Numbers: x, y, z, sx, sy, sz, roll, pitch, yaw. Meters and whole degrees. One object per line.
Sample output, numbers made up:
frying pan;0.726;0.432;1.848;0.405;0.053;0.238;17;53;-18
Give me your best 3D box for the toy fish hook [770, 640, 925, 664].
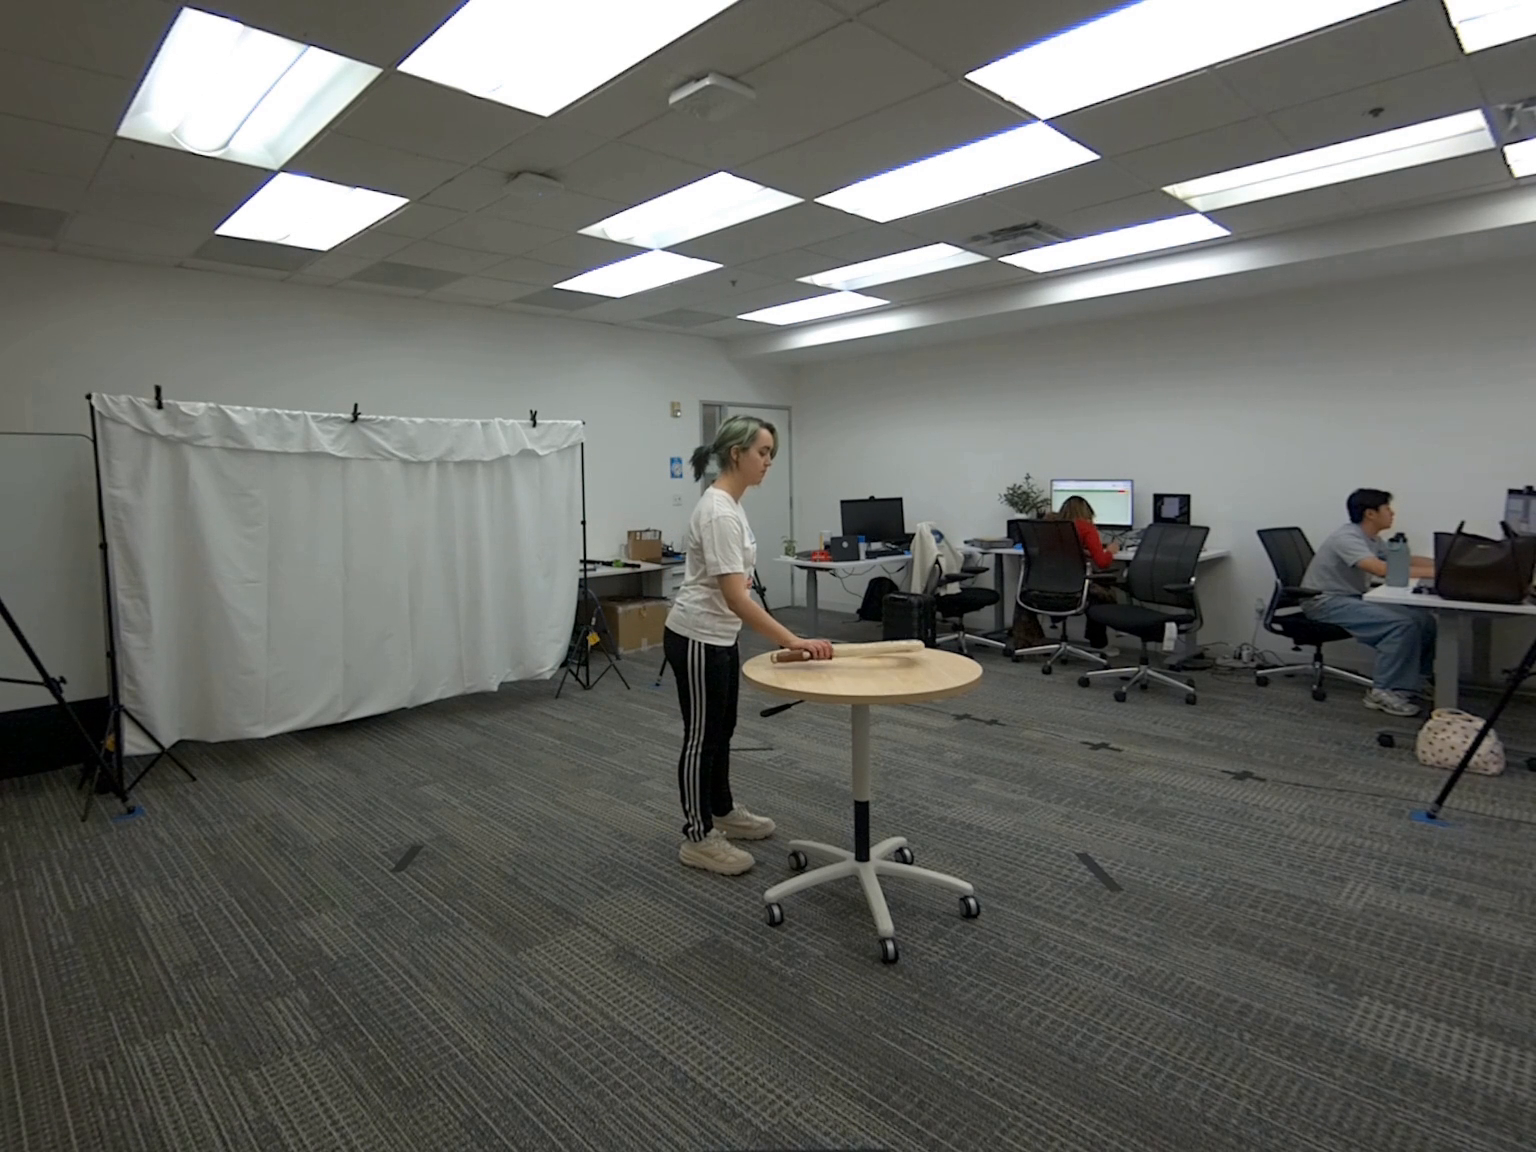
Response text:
toy fish hook;0.252;0.244;2.830;0.506;0.049;0.222;-3;-10;-2
